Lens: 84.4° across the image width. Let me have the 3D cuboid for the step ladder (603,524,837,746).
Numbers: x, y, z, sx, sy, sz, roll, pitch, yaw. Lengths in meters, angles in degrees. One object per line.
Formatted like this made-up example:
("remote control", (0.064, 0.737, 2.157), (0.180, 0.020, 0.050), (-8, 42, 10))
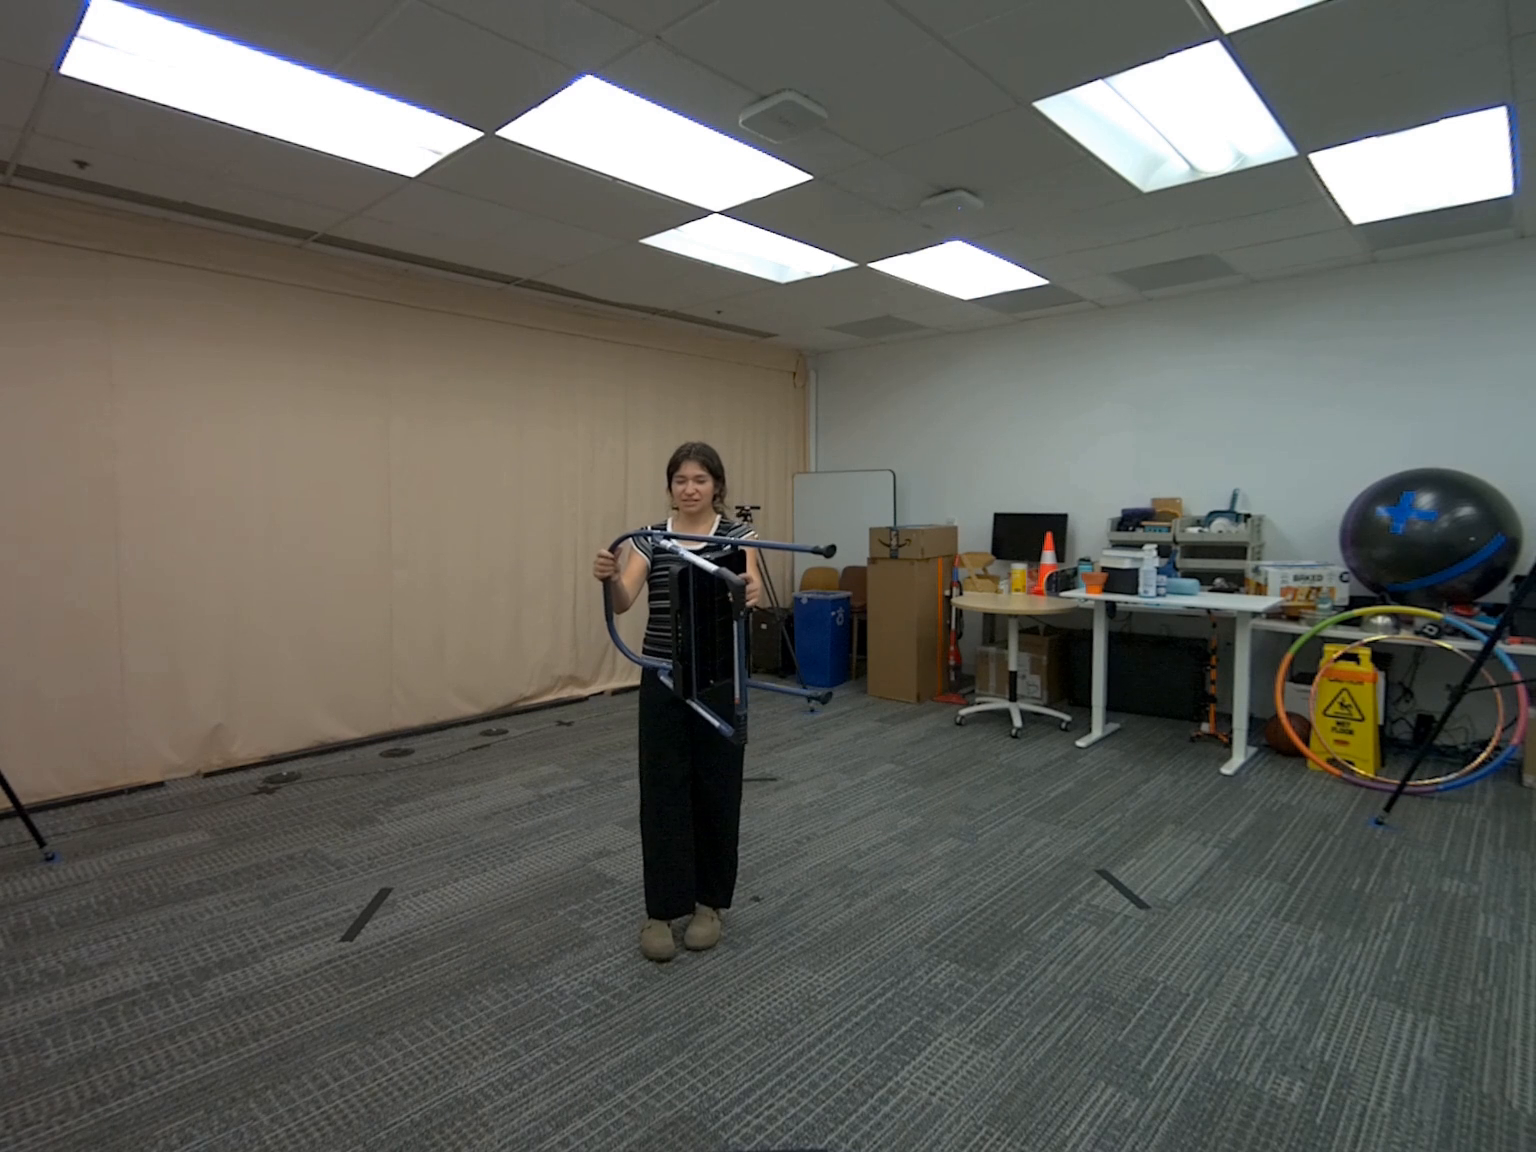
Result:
("step ladder", (-0.175, 0.102, 2.215), (0.628, 0.426, 0.341), (14, 23, 41))
